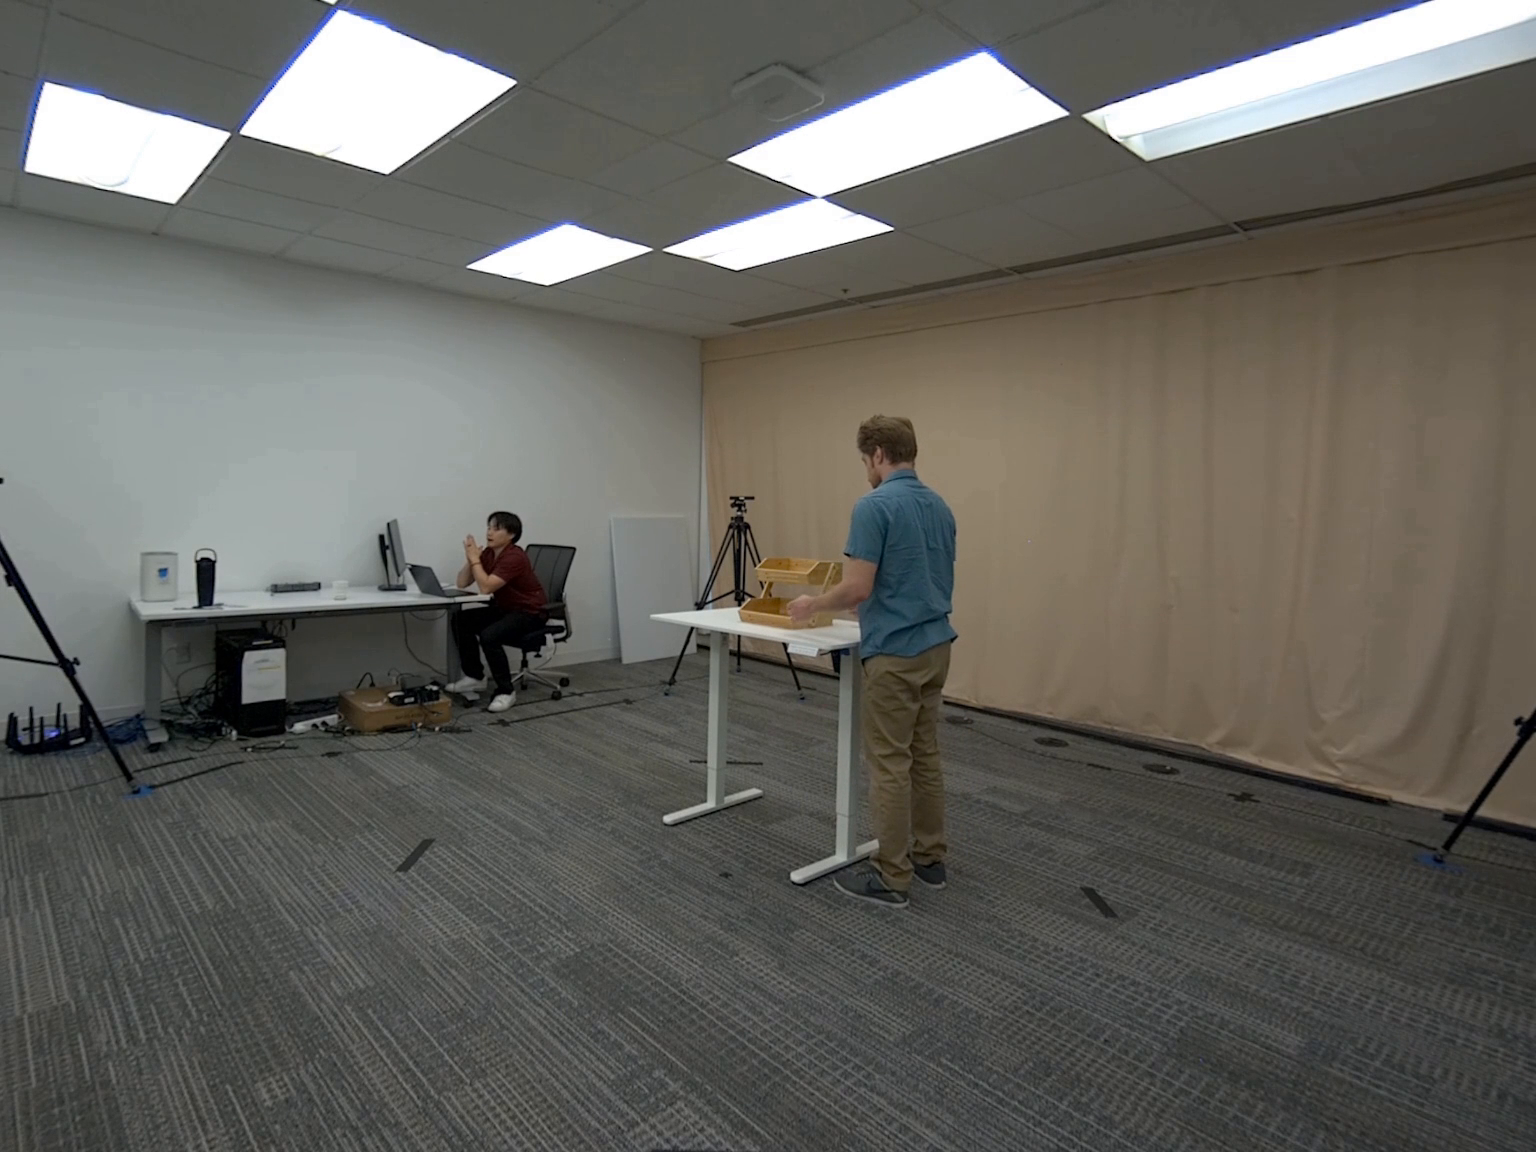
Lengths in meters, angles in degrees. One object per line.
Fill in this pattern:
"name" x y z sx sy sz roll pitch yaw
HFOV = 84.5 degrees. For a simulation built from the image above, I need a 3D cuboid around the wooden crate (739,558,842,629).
"wooden crate" 0.081 0.063 3.466 0.295 0.273 0.333 -1 4 -43
